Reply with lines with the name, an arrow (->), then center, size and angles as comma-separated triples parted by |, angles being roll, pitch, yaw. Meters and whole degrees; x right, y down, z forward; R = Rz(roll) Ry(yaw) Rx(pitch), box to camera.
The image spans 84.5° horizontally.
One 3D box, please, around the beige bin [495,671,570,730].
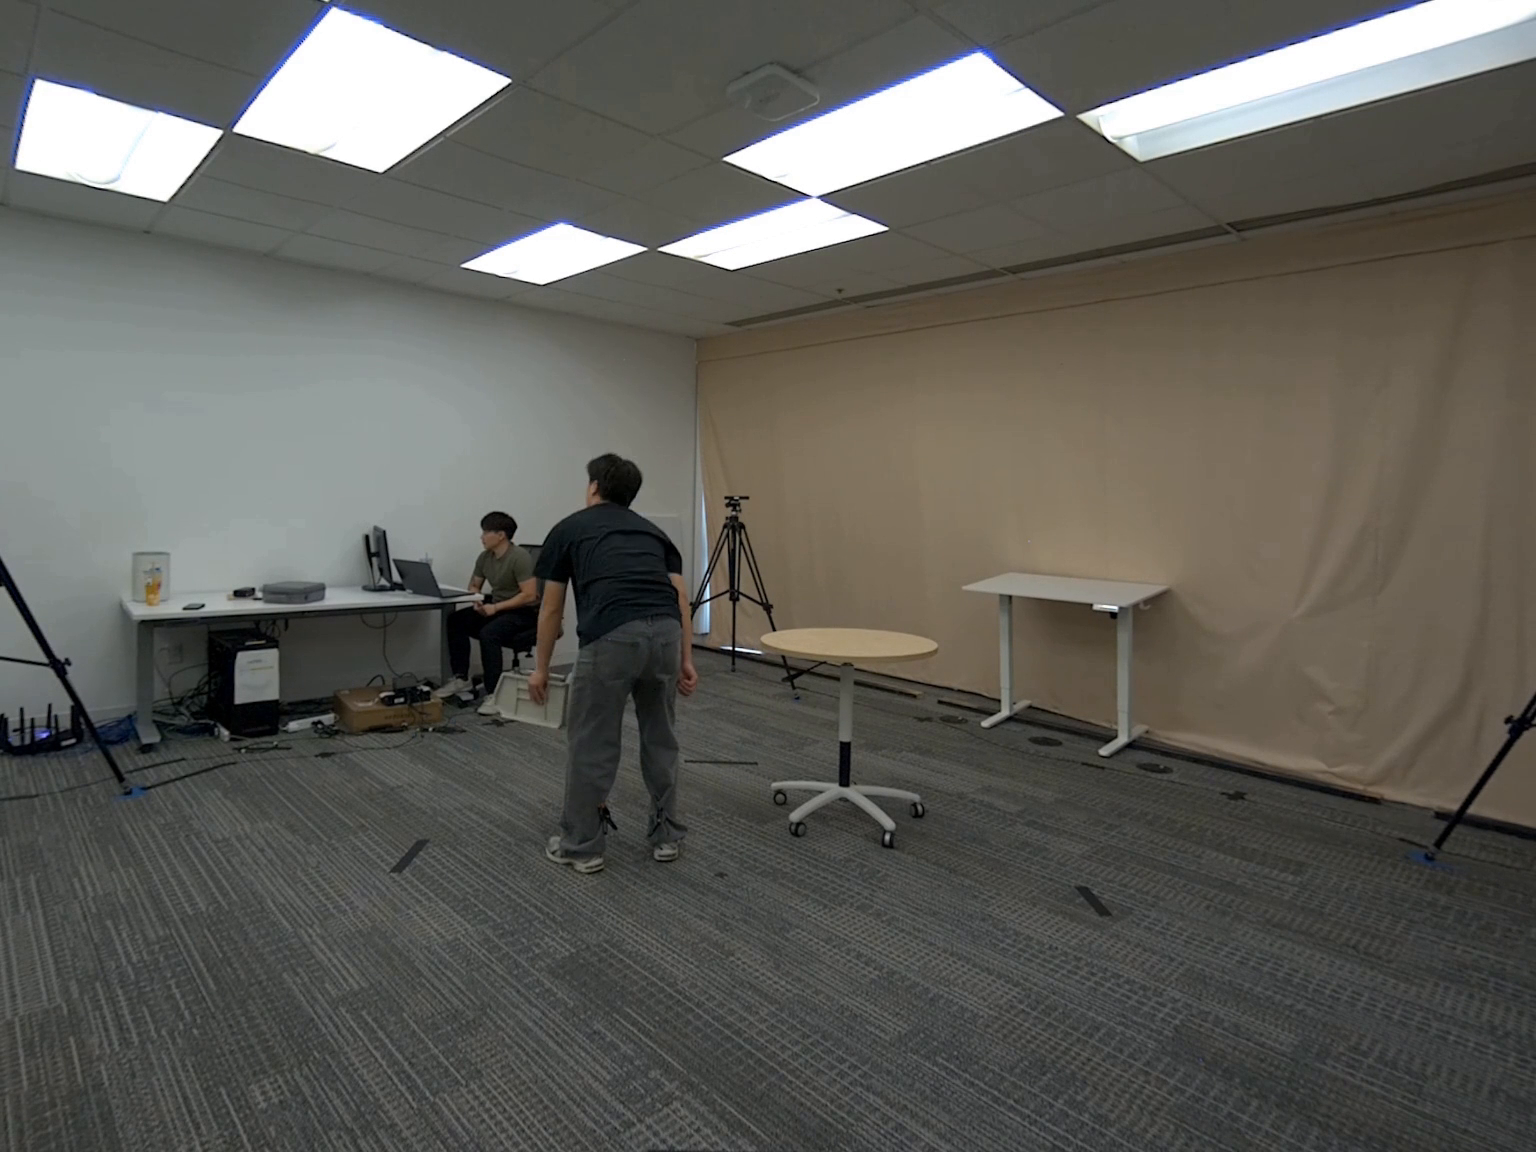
beige bin -> -0.852, 0.515, 3.535 | 0.386, 0.189, 0.412 | 6, -2, 30
